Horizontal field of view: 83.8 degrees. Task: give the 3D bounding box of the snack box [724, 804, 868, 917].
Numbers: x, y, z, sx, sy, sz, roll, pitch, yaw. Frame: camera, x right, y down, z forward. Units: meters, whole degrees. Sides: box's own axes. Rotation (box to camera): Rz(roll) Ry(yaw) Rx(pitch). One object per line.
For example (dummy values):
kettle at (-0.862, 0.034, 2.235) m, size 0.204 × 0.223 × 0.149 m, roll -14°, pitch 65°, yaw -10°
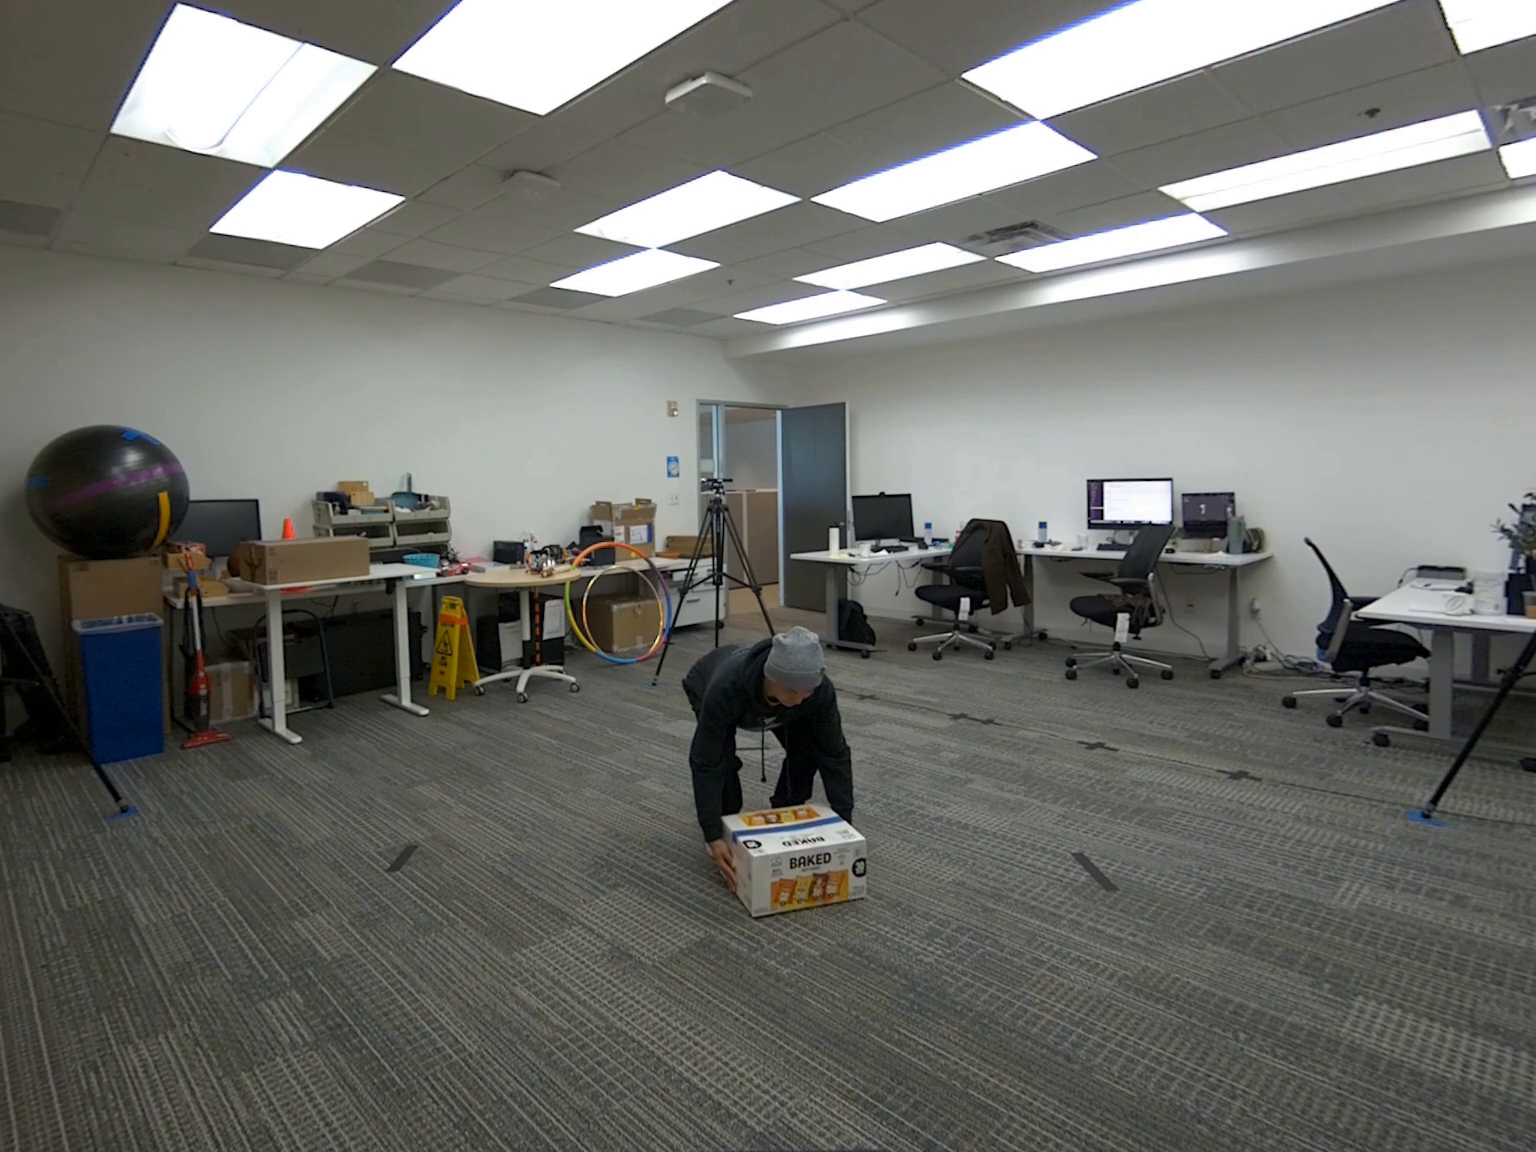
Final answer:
snack box at (0.077, 0.961, 2.917) m, size 0.398 × 0.205 × 0.348 m, roll -3°, pitch 7°, yaw -19°
